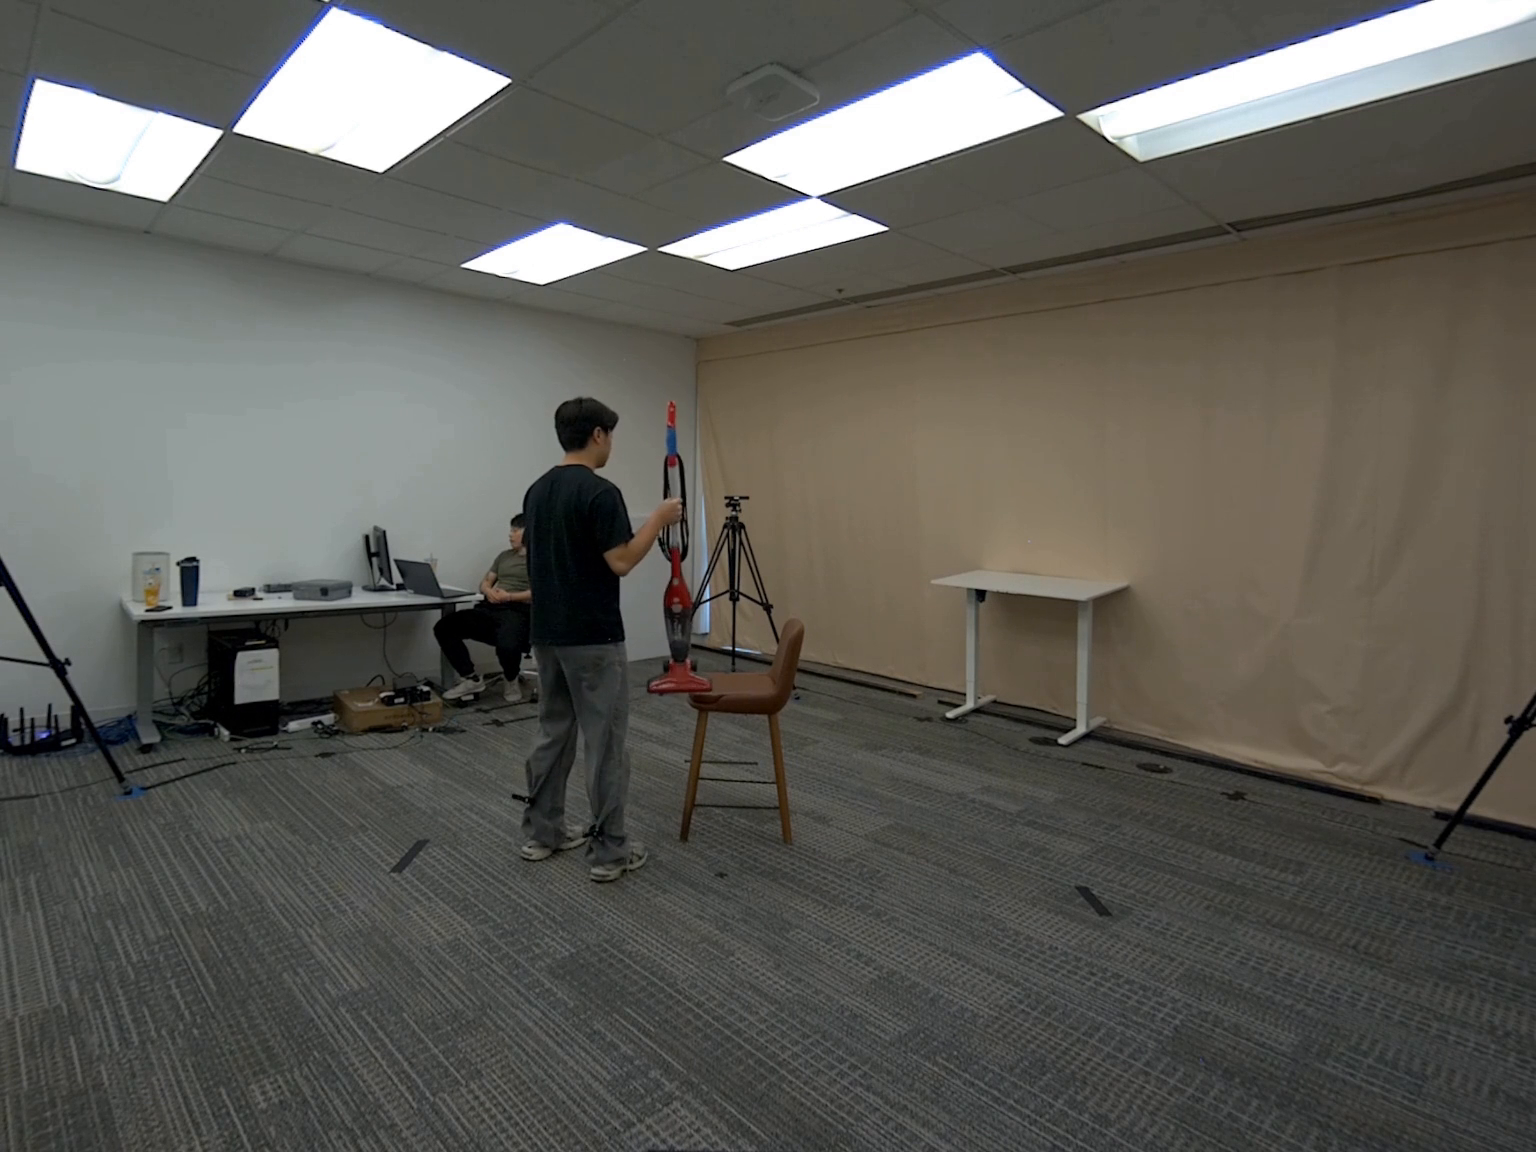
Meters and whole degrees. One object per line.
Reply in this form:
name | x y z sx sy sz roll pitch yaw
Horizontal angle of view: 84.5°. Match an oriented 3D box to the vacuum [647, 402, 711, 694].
vacuum | -0.361 -0.125 3.201 0.251 1.044 0.145 -2 6 -7
